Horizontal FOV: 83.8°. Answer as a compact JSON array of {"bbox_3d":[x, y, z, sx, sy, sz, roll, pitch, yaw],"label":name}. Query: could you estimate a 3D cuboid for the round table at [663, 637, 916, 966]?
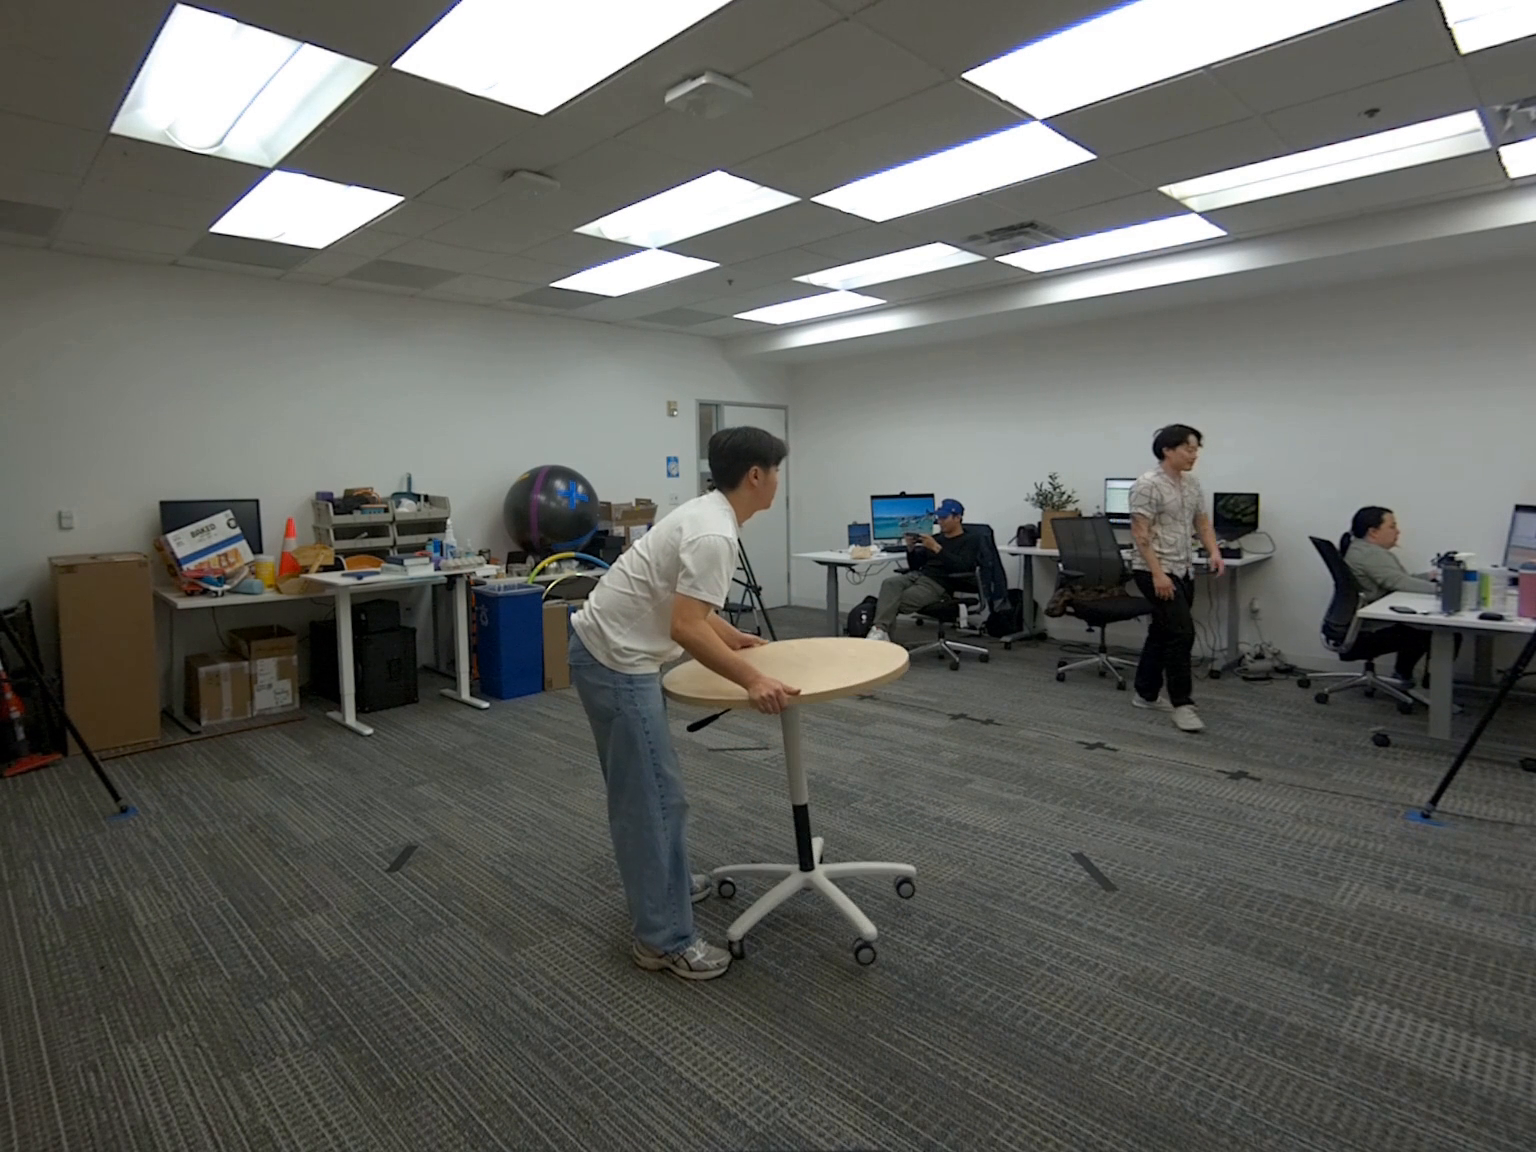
[{"bbox_3d":[0.106,0.662,2.694,0.785,0.783,0.789,-7,5,-1],"label":"round table"}]
